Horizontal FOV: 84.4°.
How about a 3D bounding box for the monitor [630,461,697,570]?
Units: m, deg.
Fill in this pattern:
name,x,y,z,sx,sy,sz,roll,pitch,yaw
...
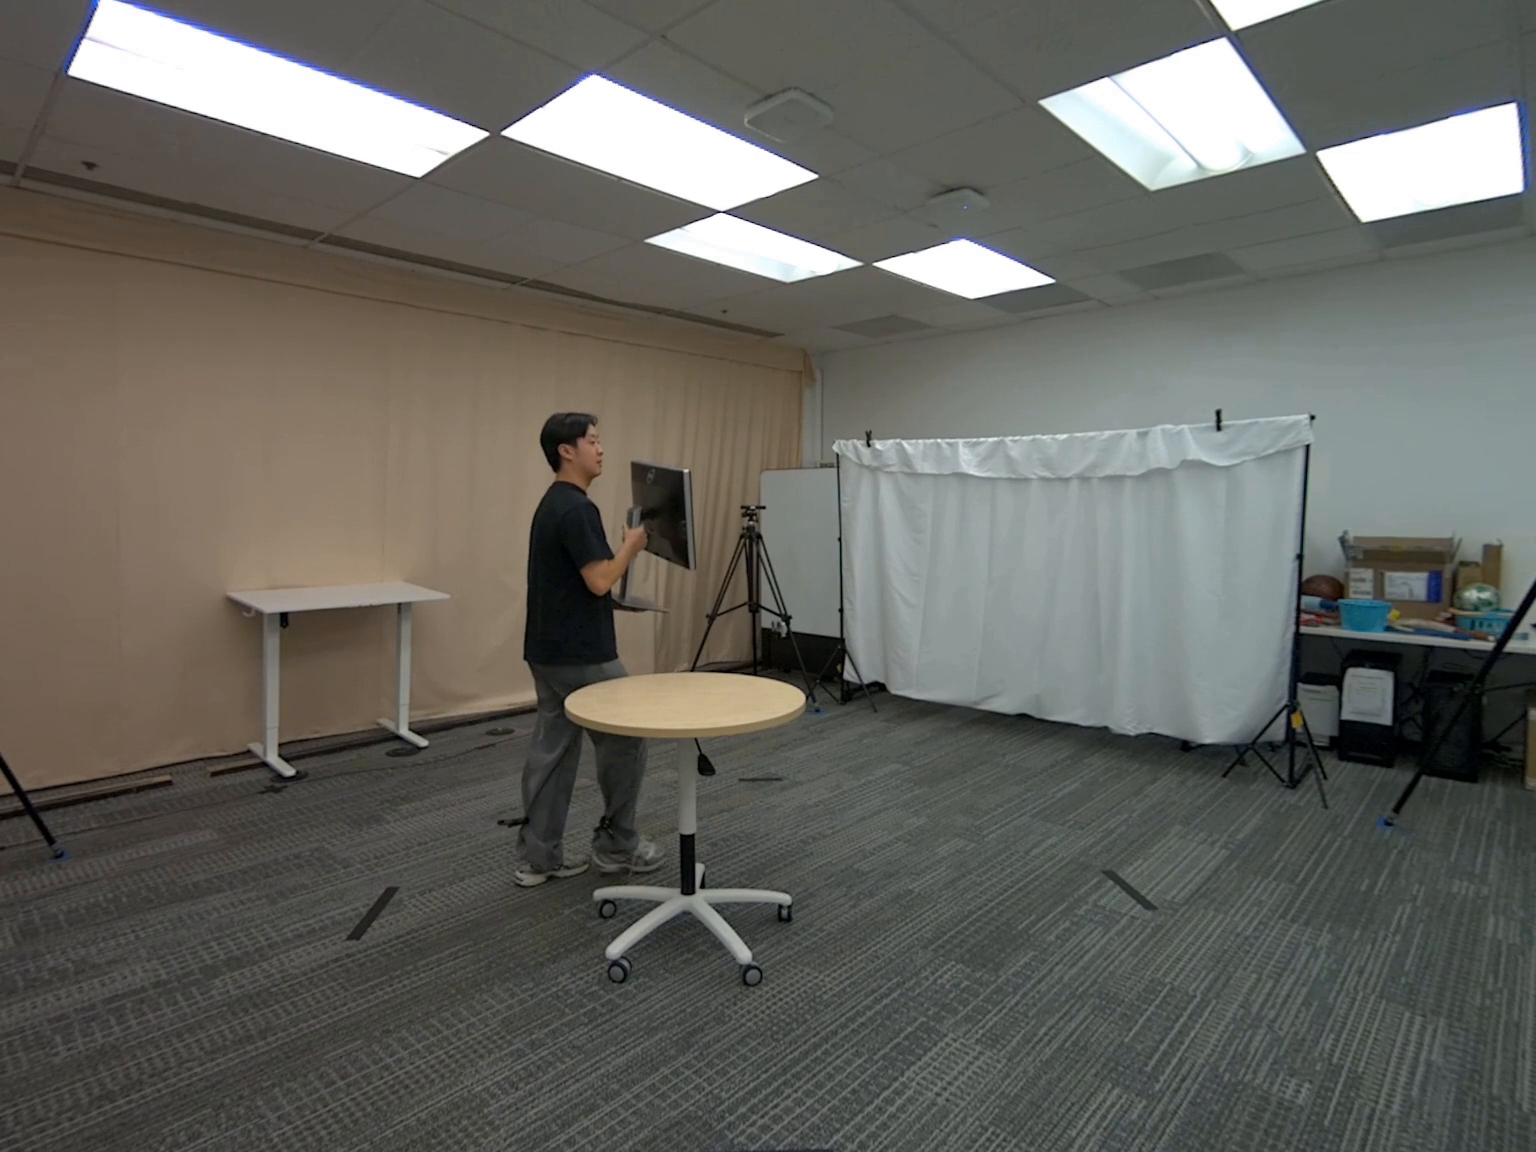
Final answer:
name,x,y,z,sx,sy,sz,roll,pitch,yaw
monitor,-0.454,-0.148,3.236,0.216,0.565,0.578,9,6,-26
